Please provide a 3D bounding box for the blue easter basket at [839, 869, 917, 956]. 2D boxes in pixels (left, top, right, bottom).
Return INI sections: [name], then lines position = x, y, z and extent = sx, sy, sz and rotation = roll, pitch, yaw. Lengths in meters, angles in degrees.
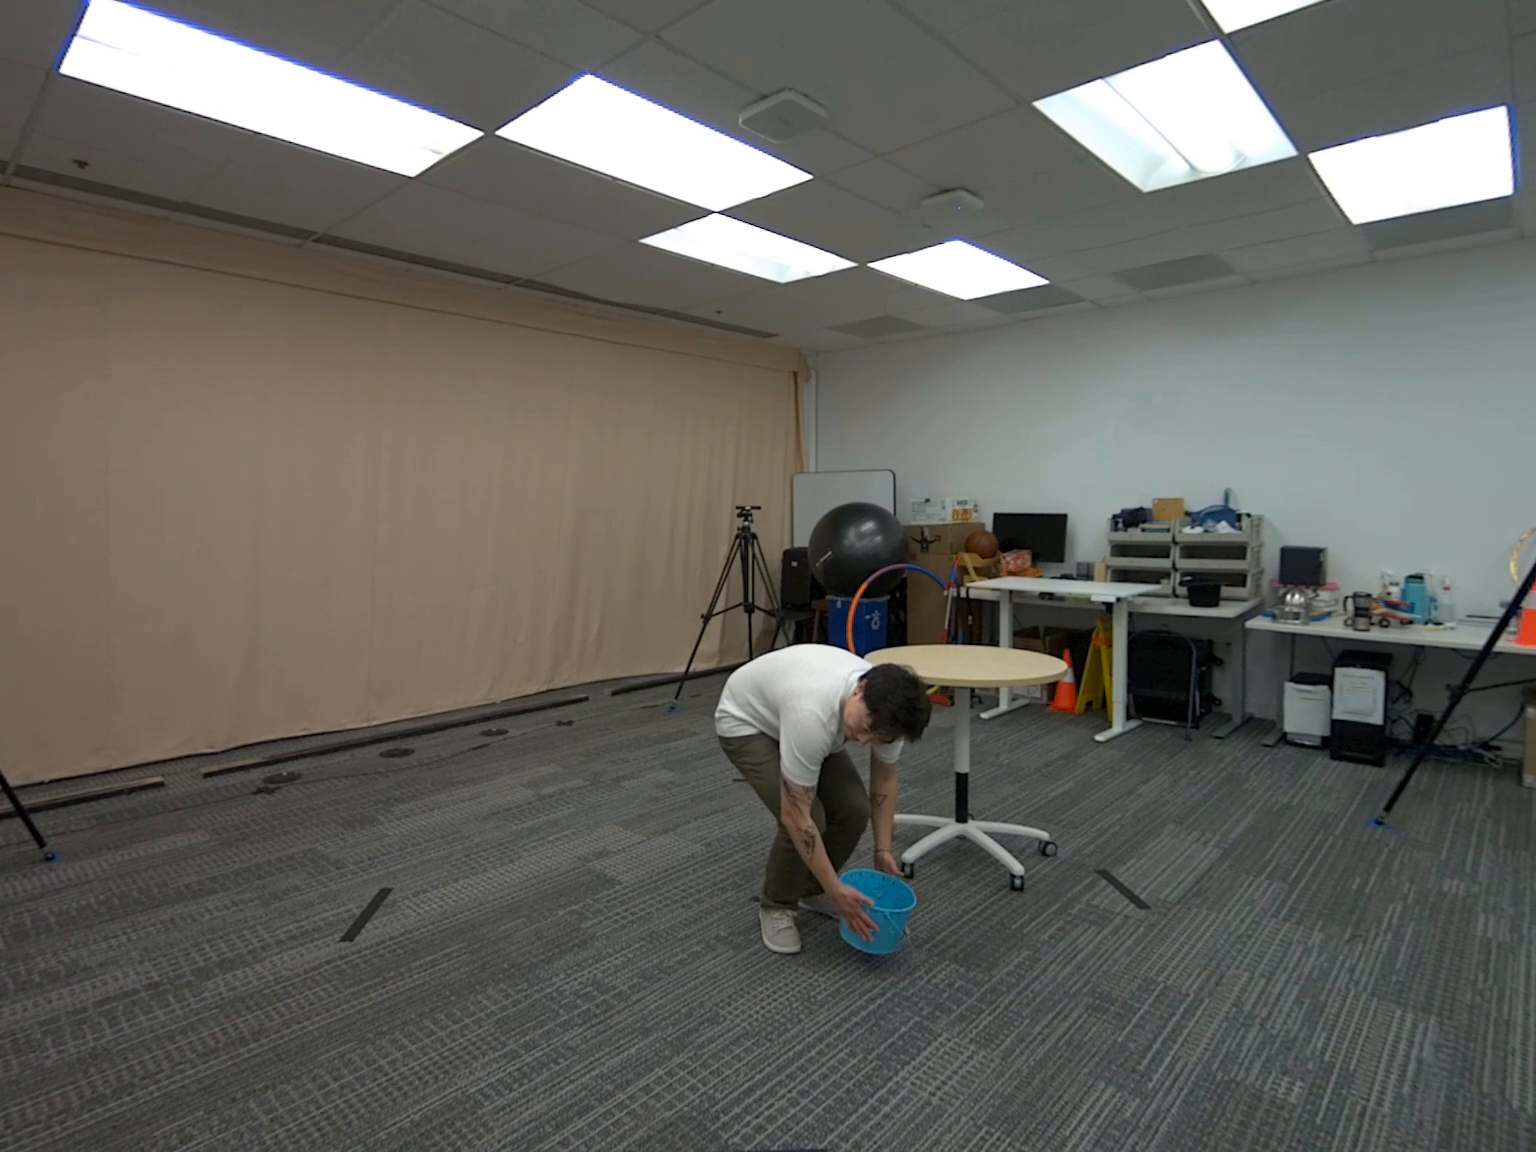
[blue easter basket]
position = 0.326, 1.016, 2.557
extent = 0.243, 0.155, 0.245
rotation = 7, 9, -3
